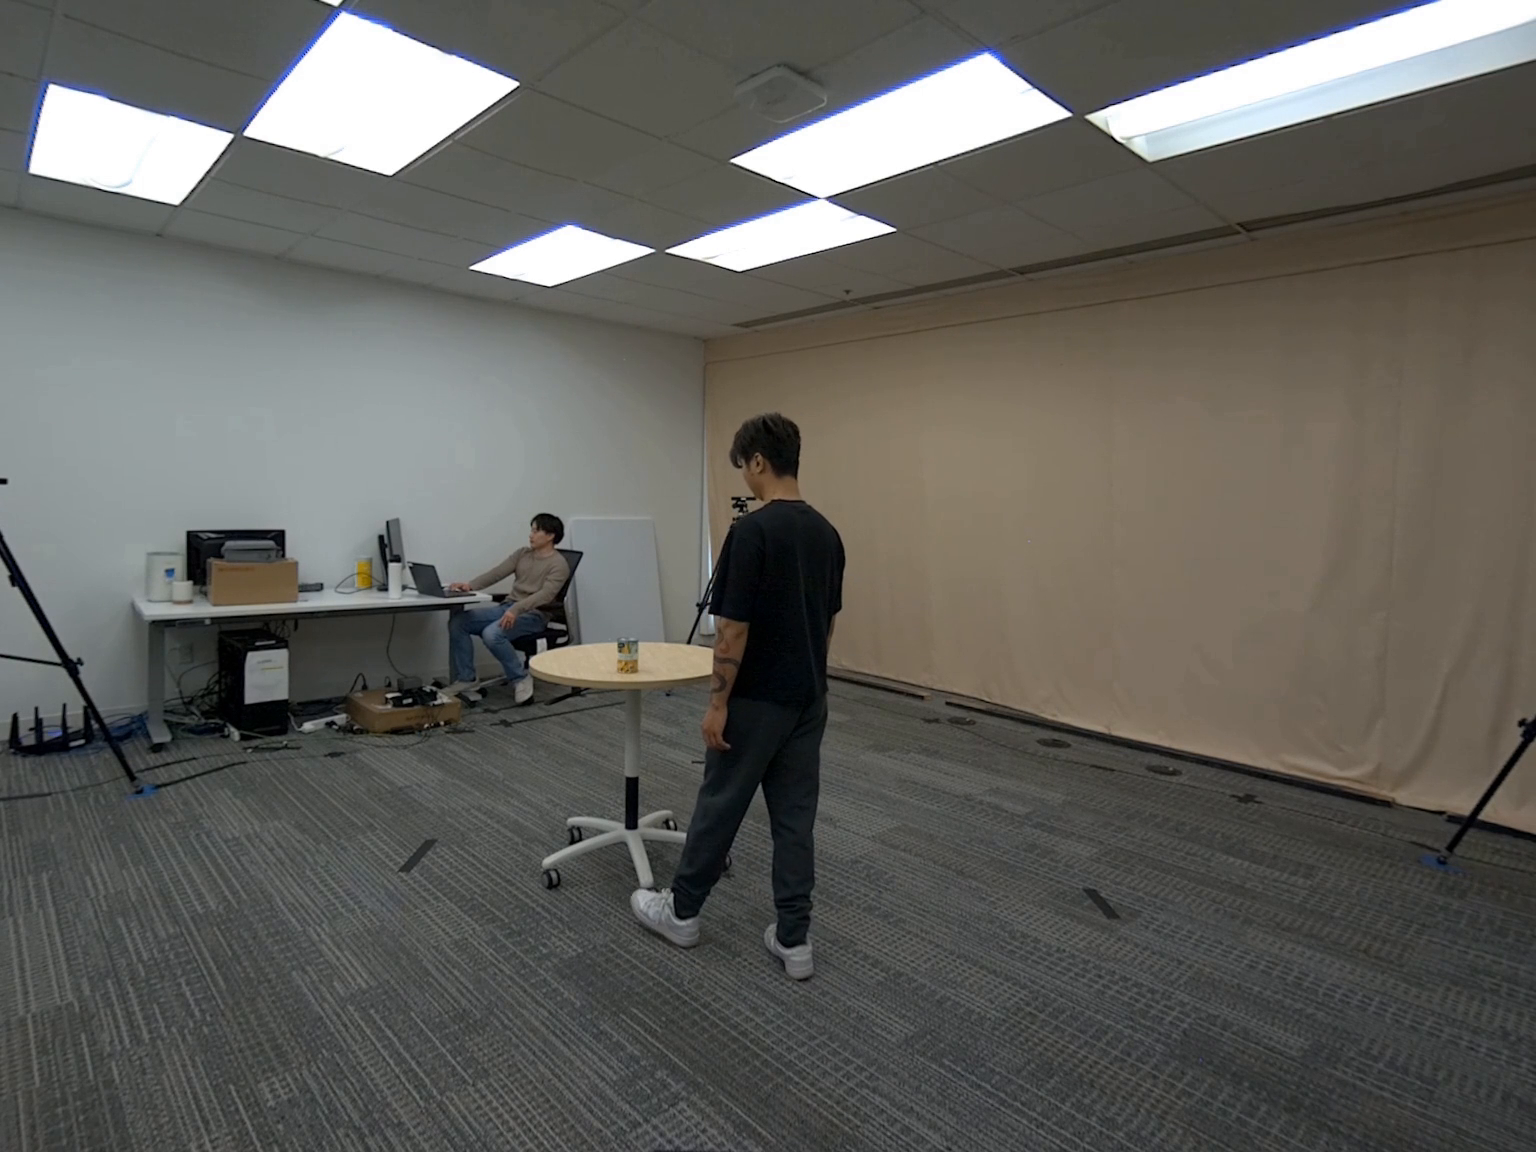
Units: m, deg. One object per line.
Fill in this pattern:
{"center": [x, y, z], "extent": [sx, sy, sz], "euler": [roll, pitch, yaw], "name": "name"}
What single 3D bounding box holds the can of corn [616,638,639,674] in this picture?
{"center": [-0.494, 0.278, 2.918], "extent": [0.074, 0.110, 0.074], "euler": [2, 5, -2], "name": "can of corn"}
